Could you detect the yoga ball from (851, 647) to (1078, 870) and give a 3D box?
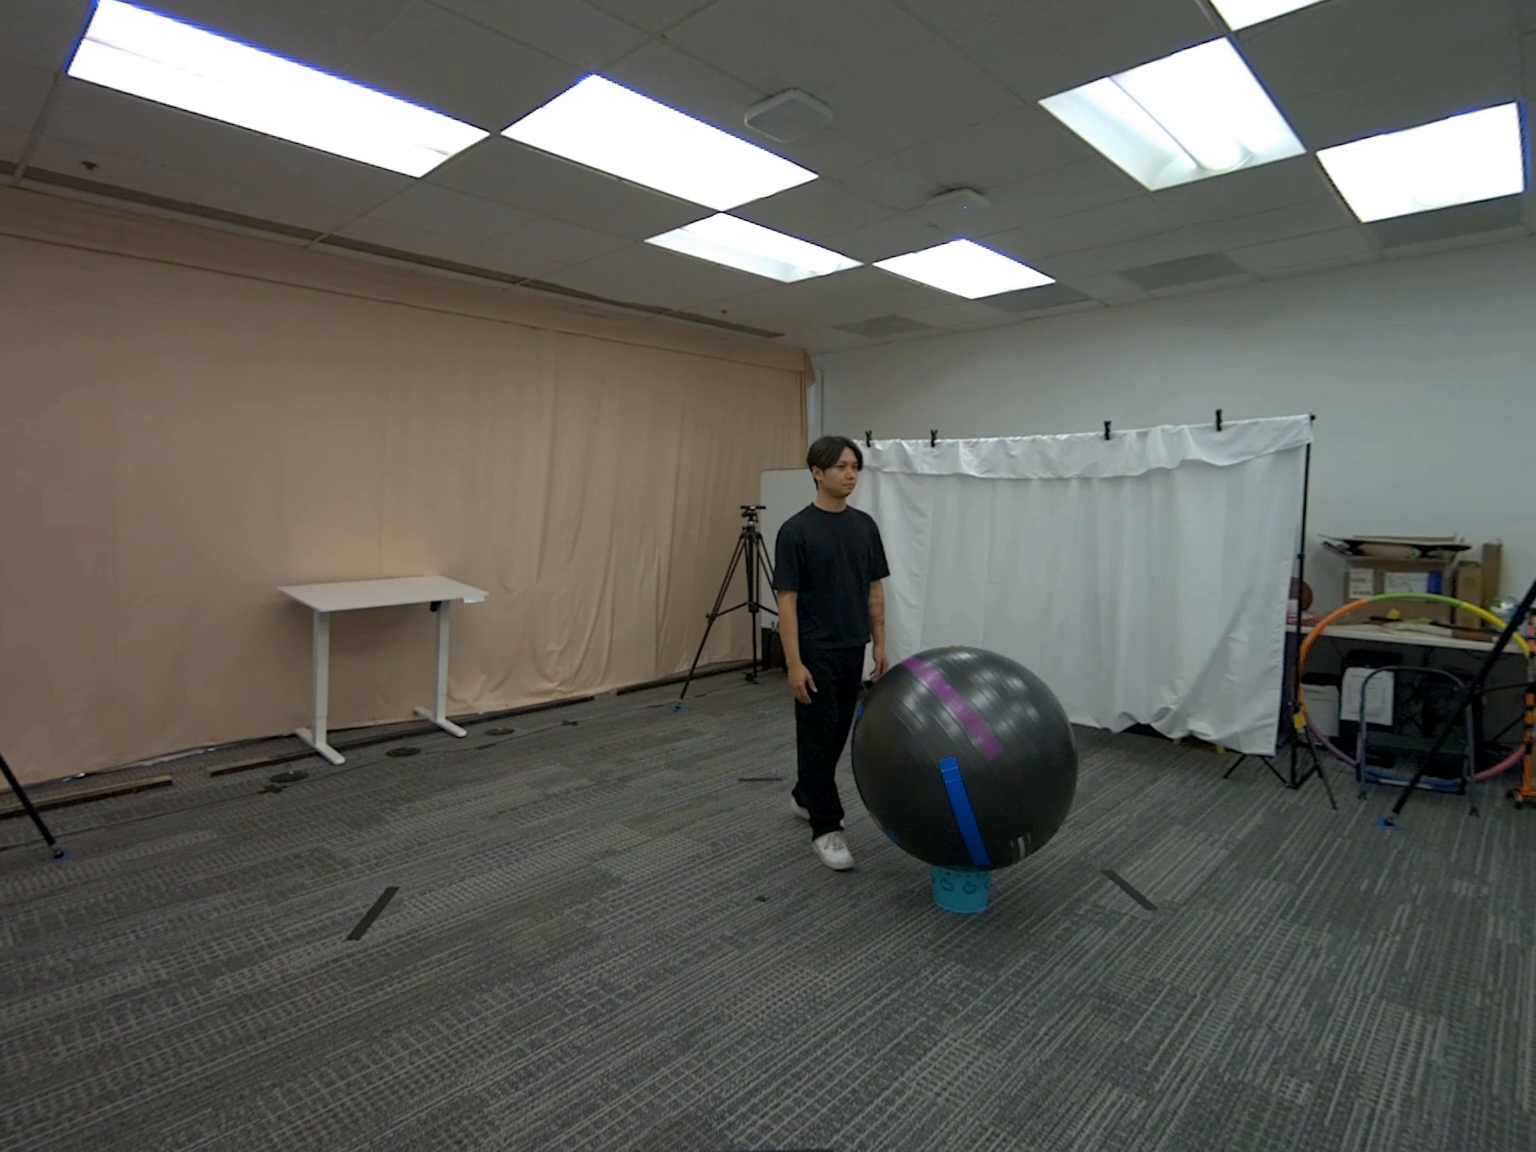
[{"bbox_3d":[0.684,0.635,2.941,0.757,0.756,0.760,0,4,-2],"label":"yoga ball"}]
